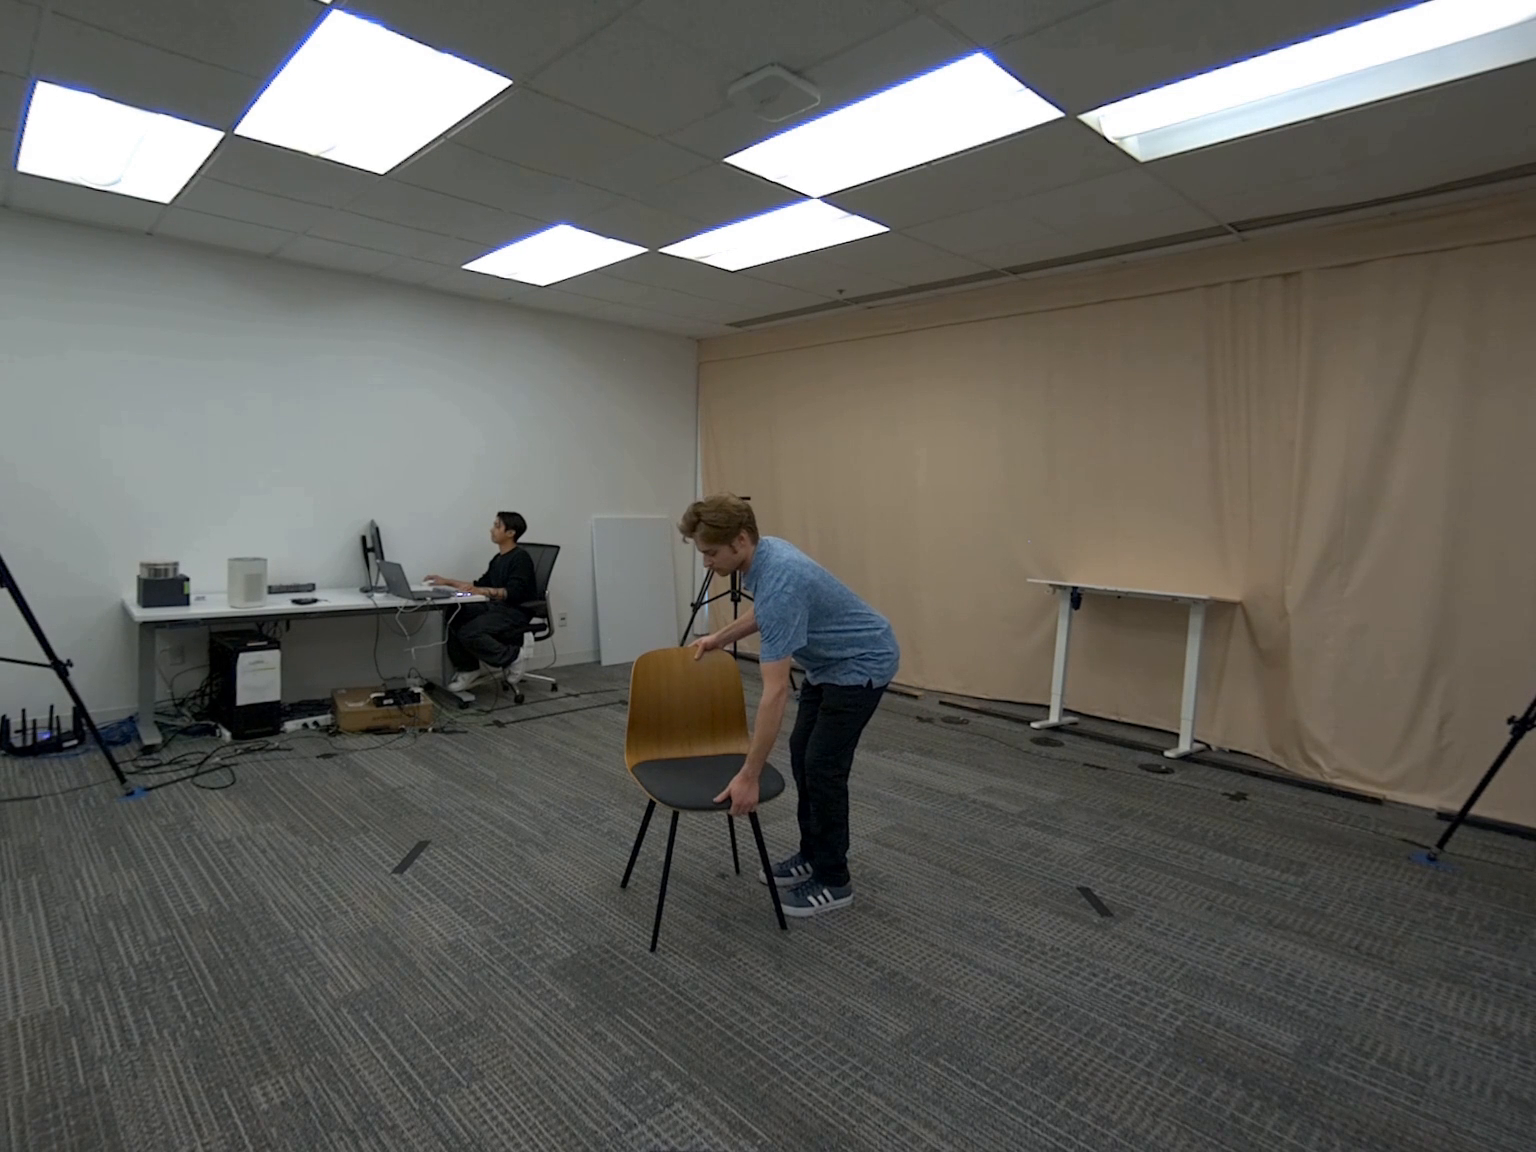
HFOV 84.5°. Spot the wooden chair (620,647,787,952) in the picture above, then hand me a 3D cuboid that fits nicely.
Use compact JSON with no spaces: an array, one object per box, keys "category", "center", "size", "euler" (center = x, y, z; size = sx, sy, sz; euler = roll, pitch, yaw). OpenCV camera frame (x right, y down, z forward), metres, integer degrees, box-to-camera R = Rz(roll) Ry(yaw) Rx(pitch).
[{"category":"wooden chair","center":[-0.223,0.700,2.811],"size":[0.471,0.878,0.531],"euler":[0,0,-21]}]
